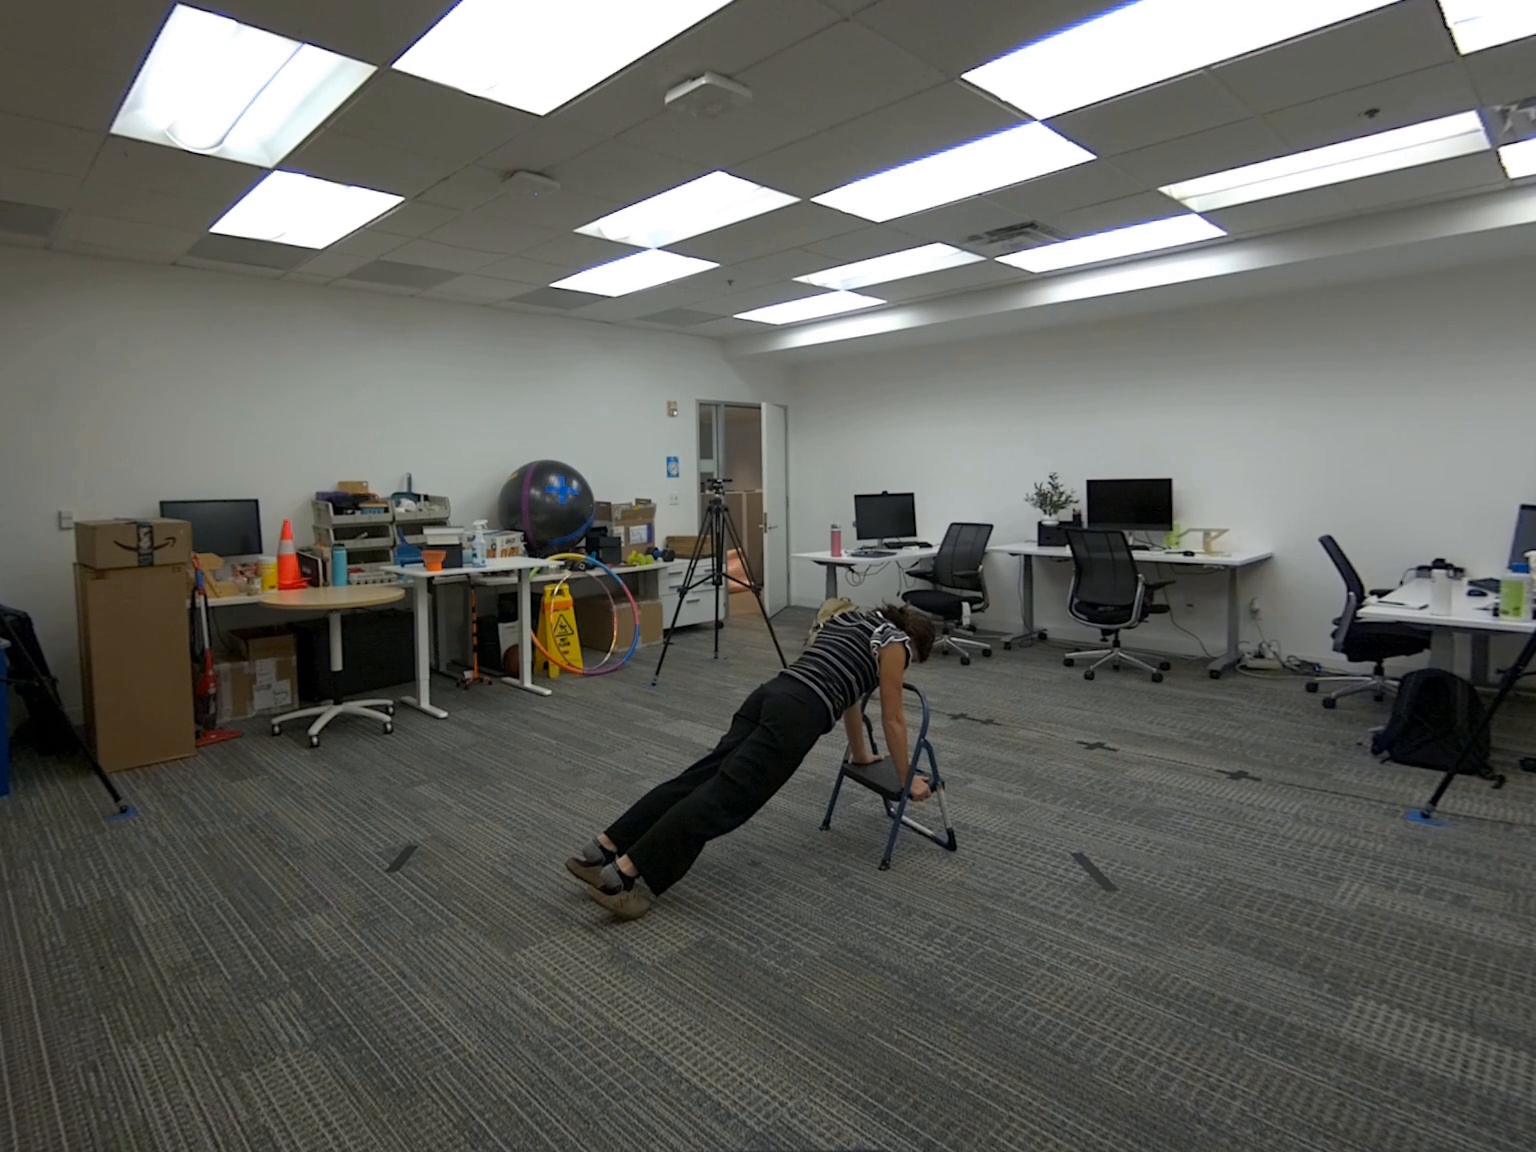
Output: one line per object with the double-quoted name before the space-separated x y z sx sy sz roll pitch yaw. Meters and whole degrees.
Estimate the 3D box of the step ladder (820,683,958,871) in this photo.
"step ladder" 0.456 0.716 3.280 0.341 0.604 0.442 -2 5 -28
